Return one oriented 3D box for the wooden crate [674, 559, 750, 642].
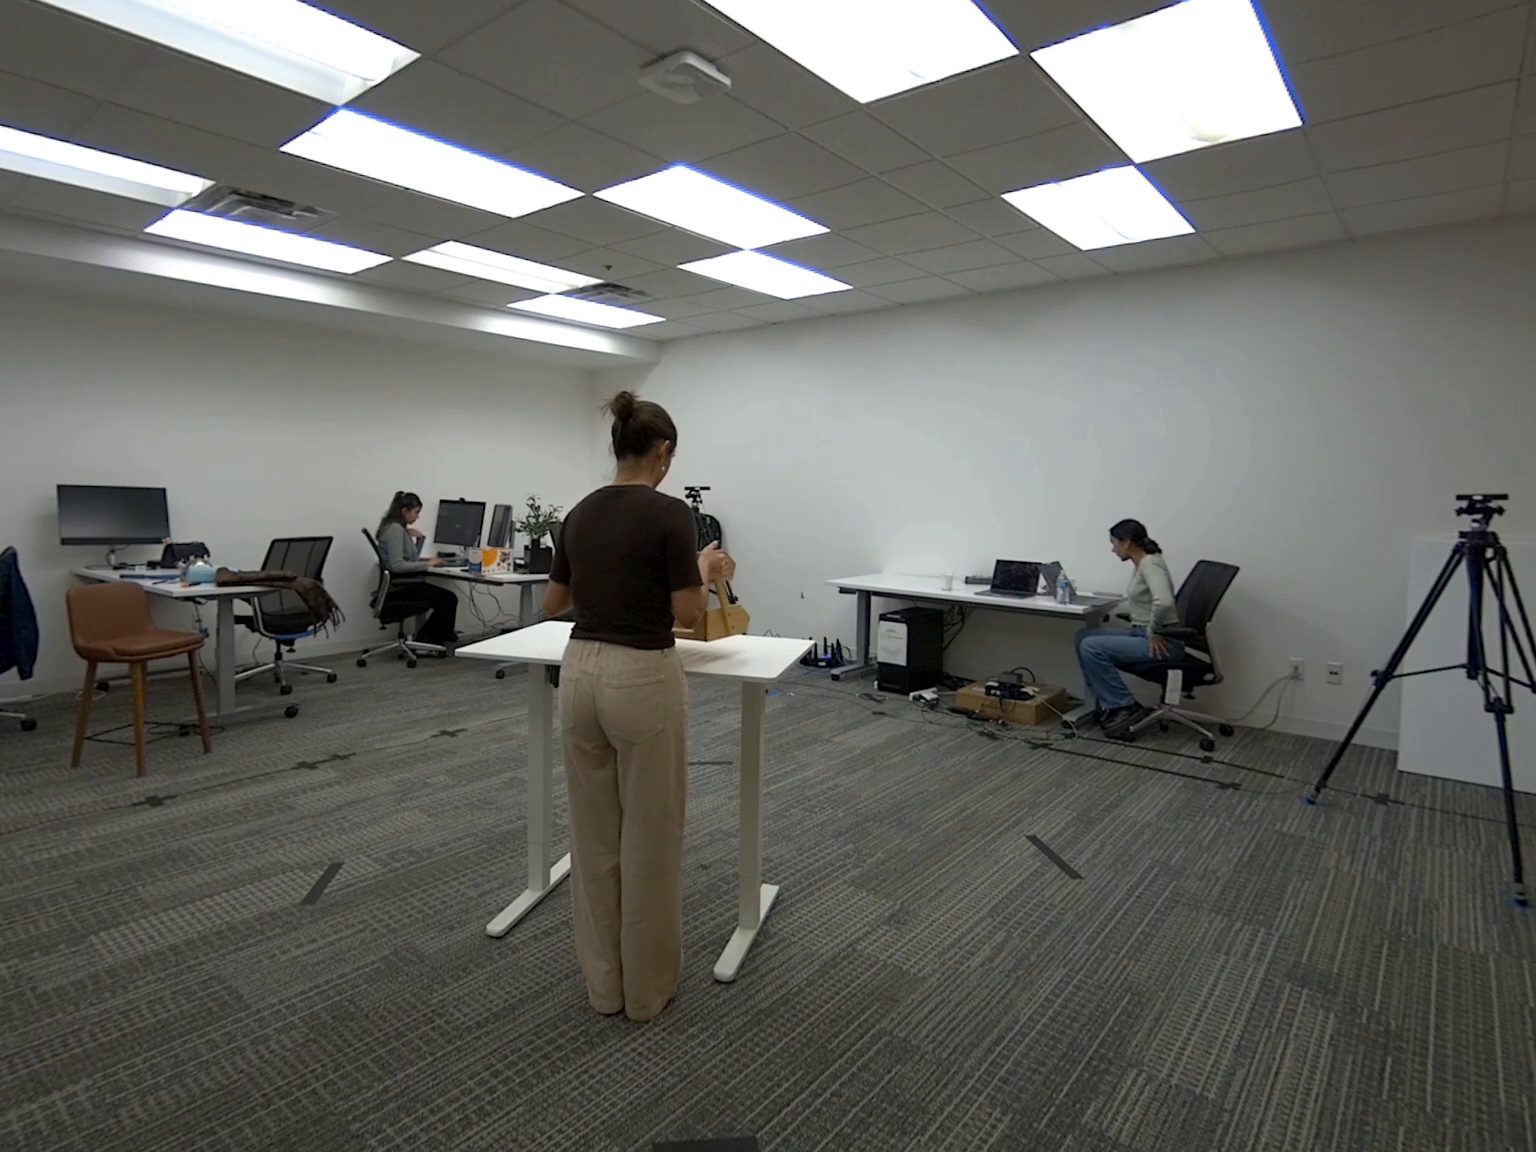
[{"bbox_3d":[-0.267,0.040,2.584,0.334,0.272,0.294,2,4,31],"label":"wooden crate"}]
